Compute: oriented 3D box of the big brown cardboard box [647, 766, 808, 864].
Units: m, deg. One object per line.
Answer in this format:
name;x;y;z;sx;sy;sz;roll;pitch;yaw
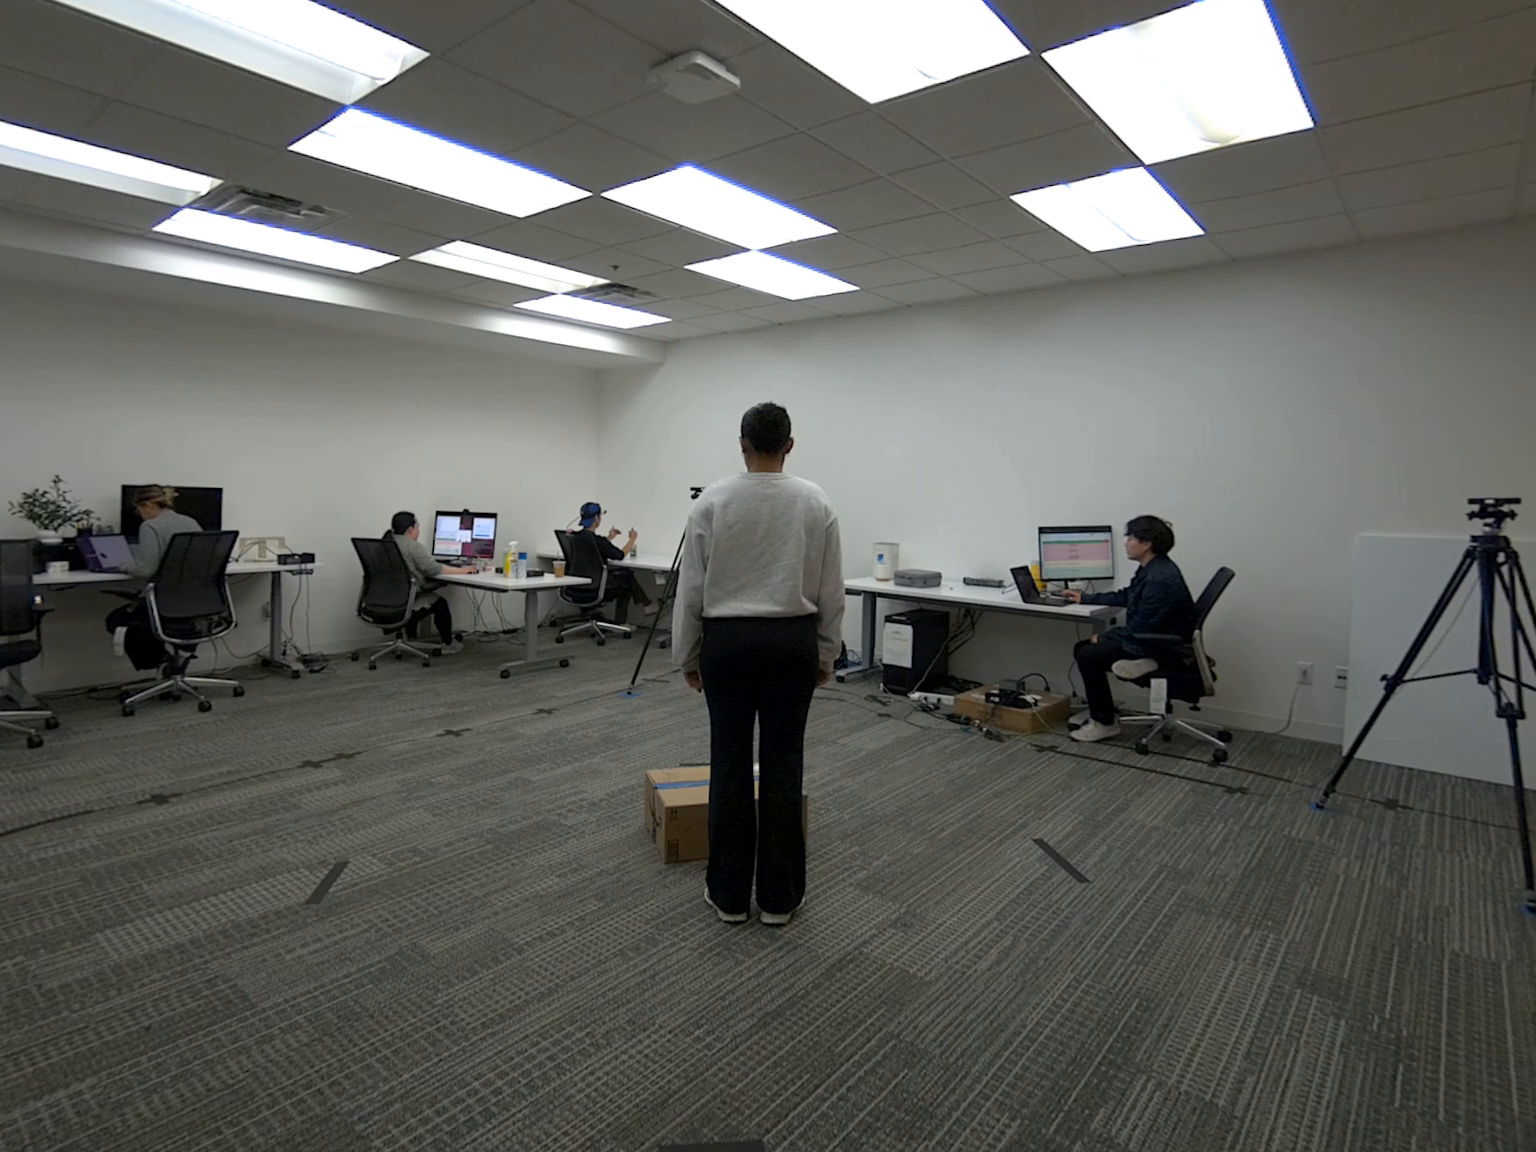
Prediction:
big brown cardboard box;-0.188;0.922;3.413;0.579;0.232;0.426;-2;5;-17
